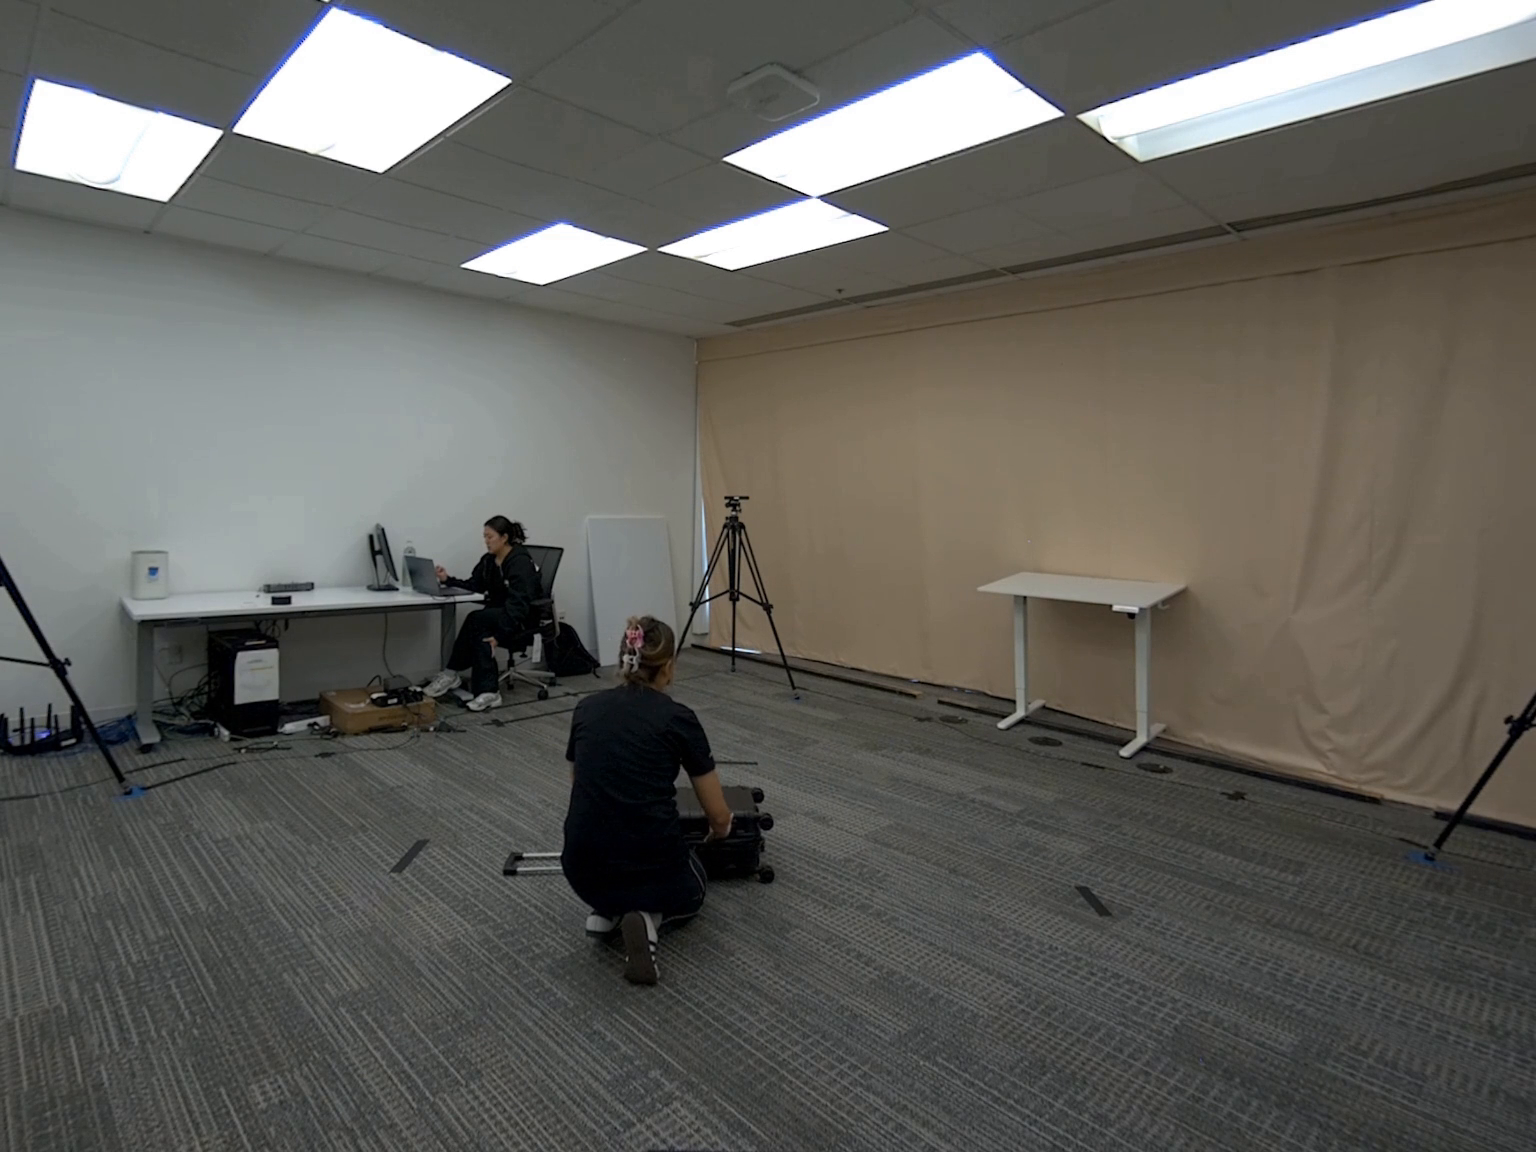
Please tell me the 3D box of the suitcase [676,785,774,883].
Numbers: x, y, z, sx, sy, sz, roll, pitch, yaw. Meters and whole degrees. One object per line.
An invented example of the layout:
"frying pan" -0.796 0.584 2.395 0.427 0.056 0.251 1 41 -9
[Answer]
"suitcase" -0.481 0.960 3.162 0.975 0.256 0.386 2 3 -5
